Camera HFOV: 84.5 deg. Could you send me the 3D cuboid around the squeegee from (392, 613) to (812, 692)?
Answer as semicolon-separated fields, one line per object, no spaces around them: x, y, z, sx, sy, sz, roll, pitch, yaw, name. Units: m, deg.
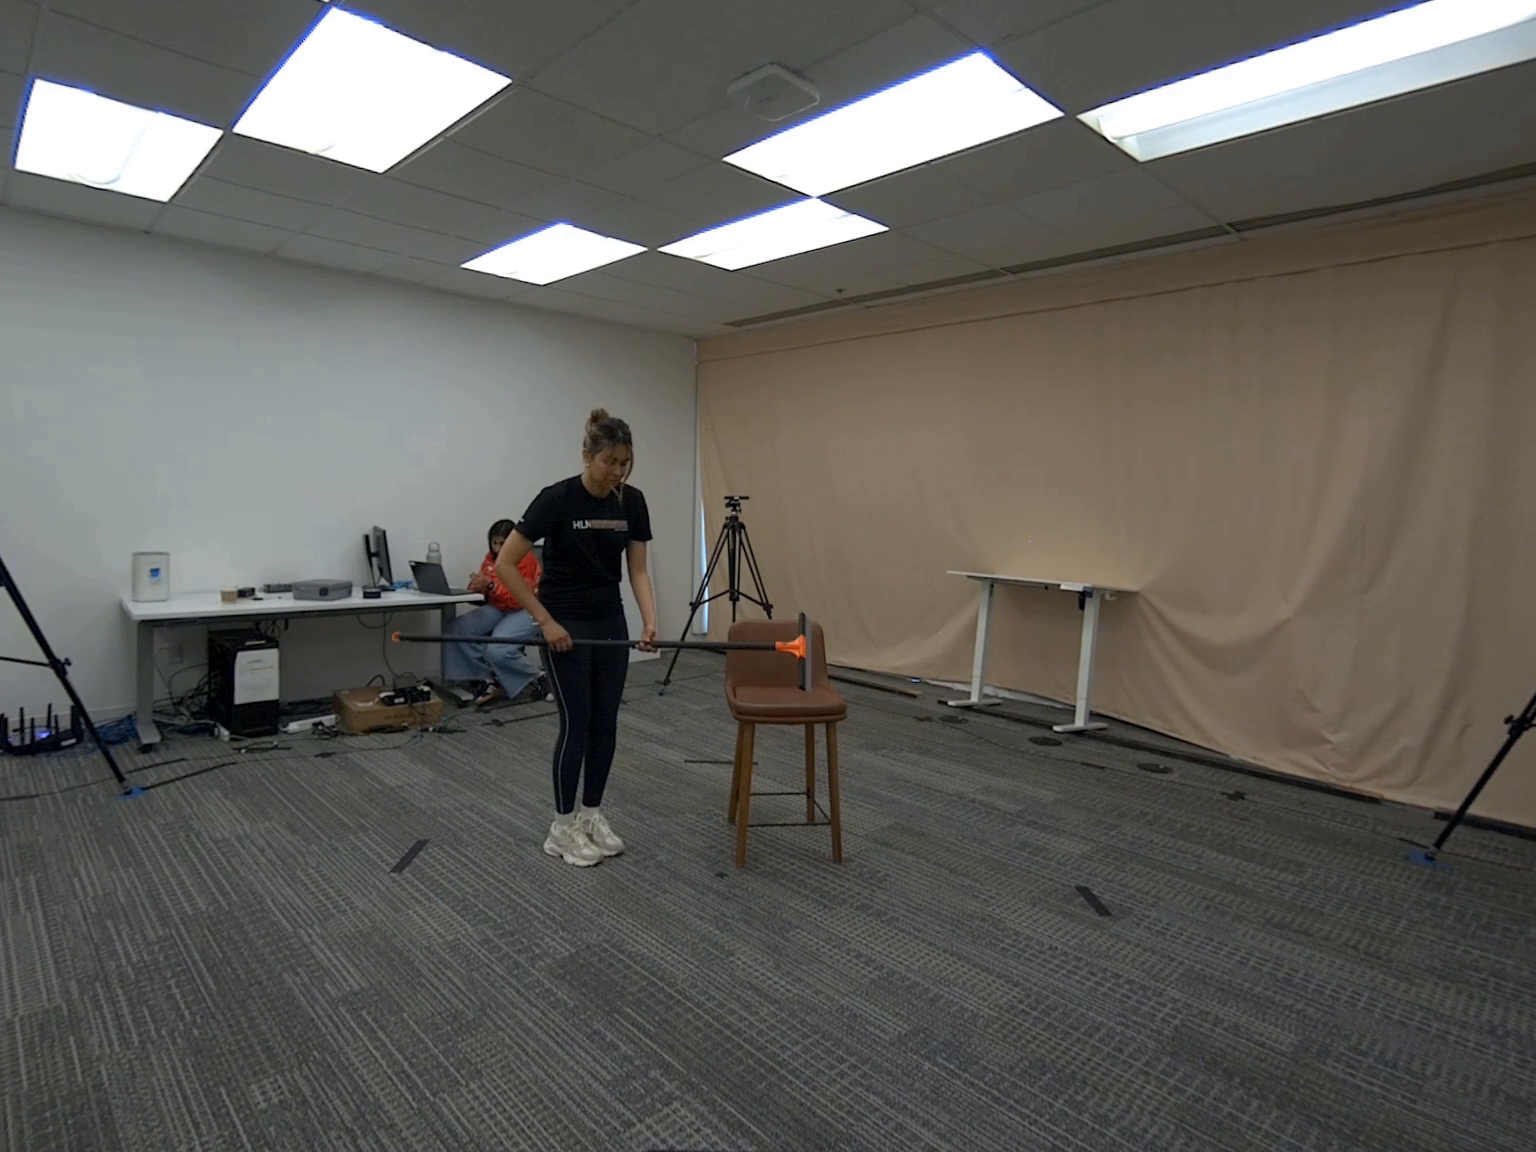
-0.624;0.260;3.027;1.542;0.052;0.445;0;31;3;squeegee
